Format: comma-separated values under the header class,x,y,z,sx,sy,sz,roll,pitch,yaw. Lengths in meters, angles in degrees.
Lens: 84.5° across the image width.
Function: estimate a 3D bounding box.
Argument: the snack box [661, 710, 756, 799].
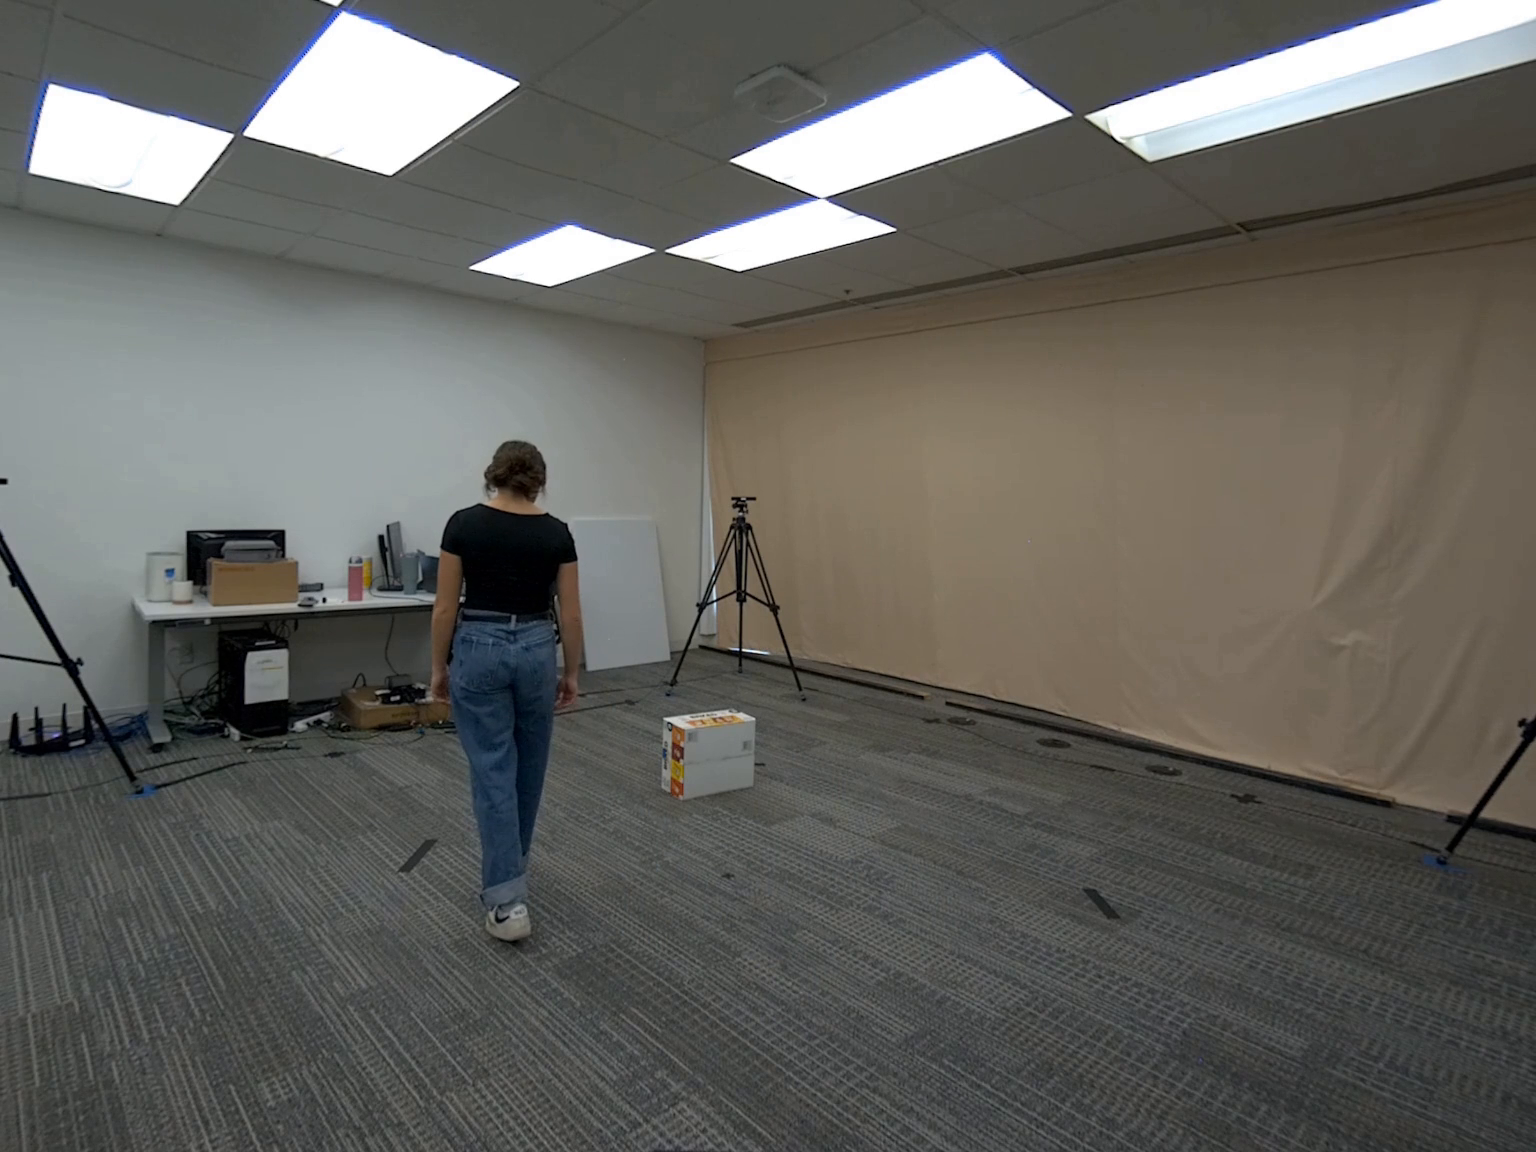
class,x,y,z,sx,sy,sz,roll,pitch,yaw
snack box,-0.293,0.852,4.053,0.396,0.339,0.211,-1,6,-35
